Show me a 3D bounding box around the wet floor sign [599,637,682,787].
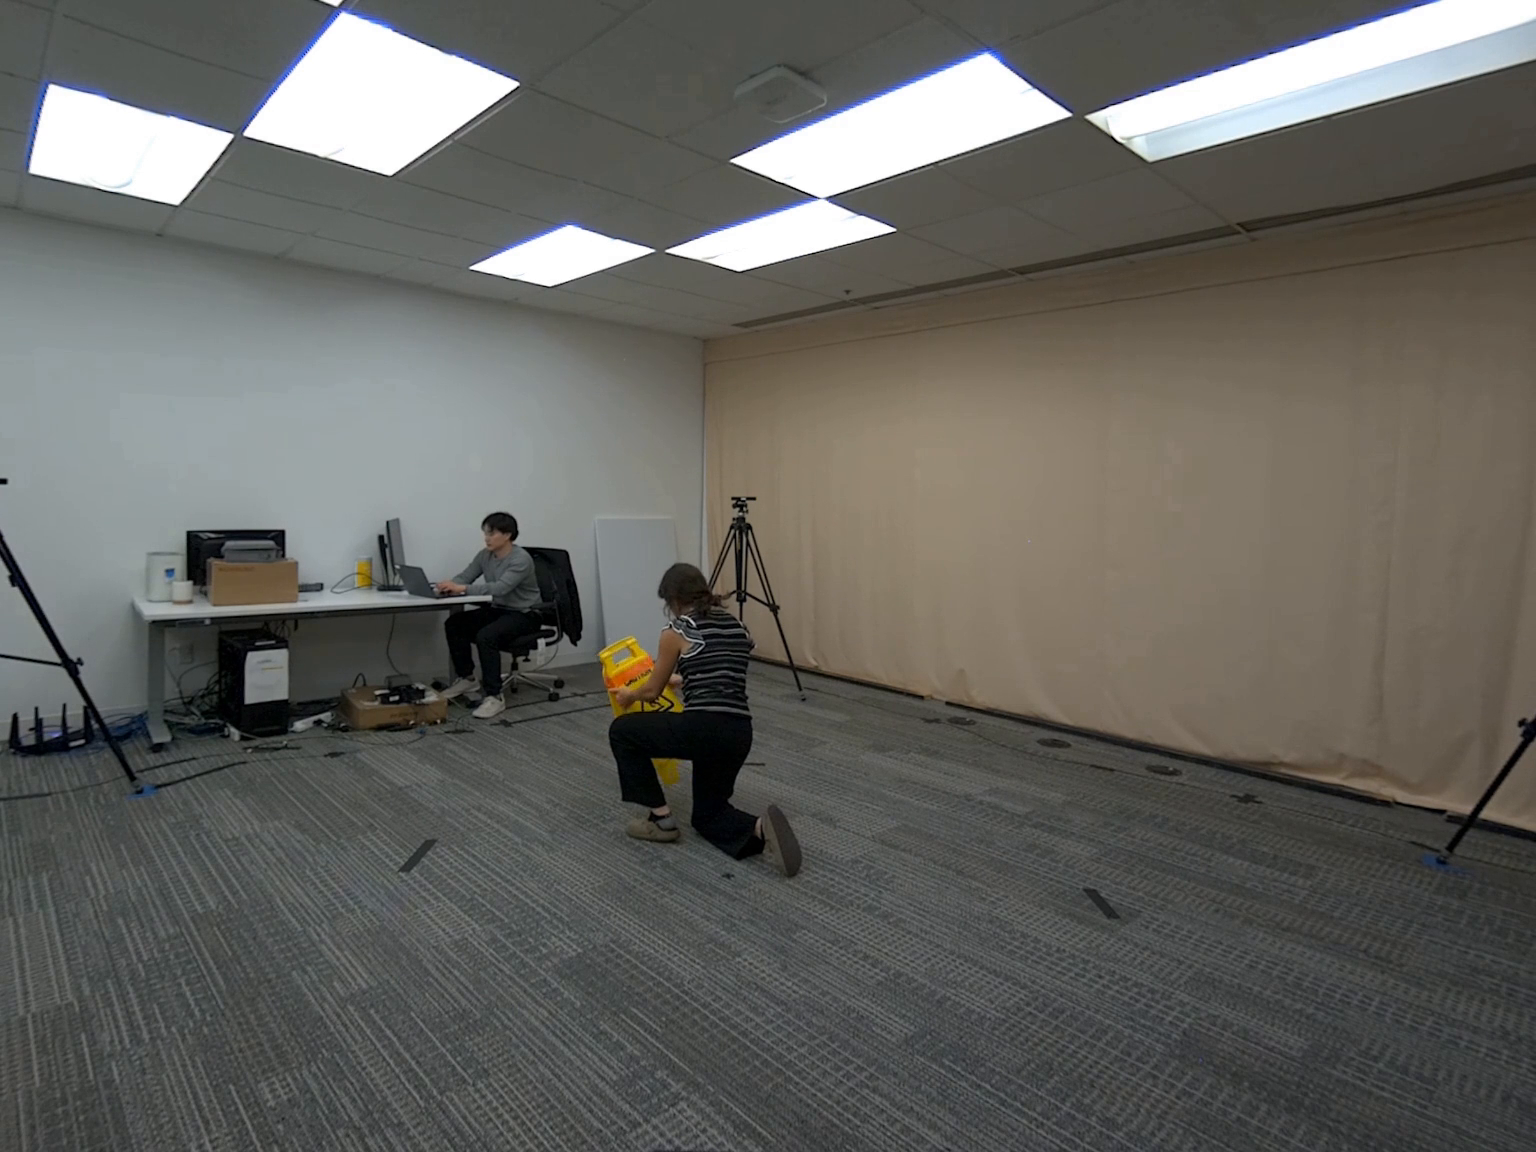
[{"bbox_3d":[-0.566,0.609,3.829,0.279,0.645,0.293,-26,2,-38],"label":"wet floor sign"}]
